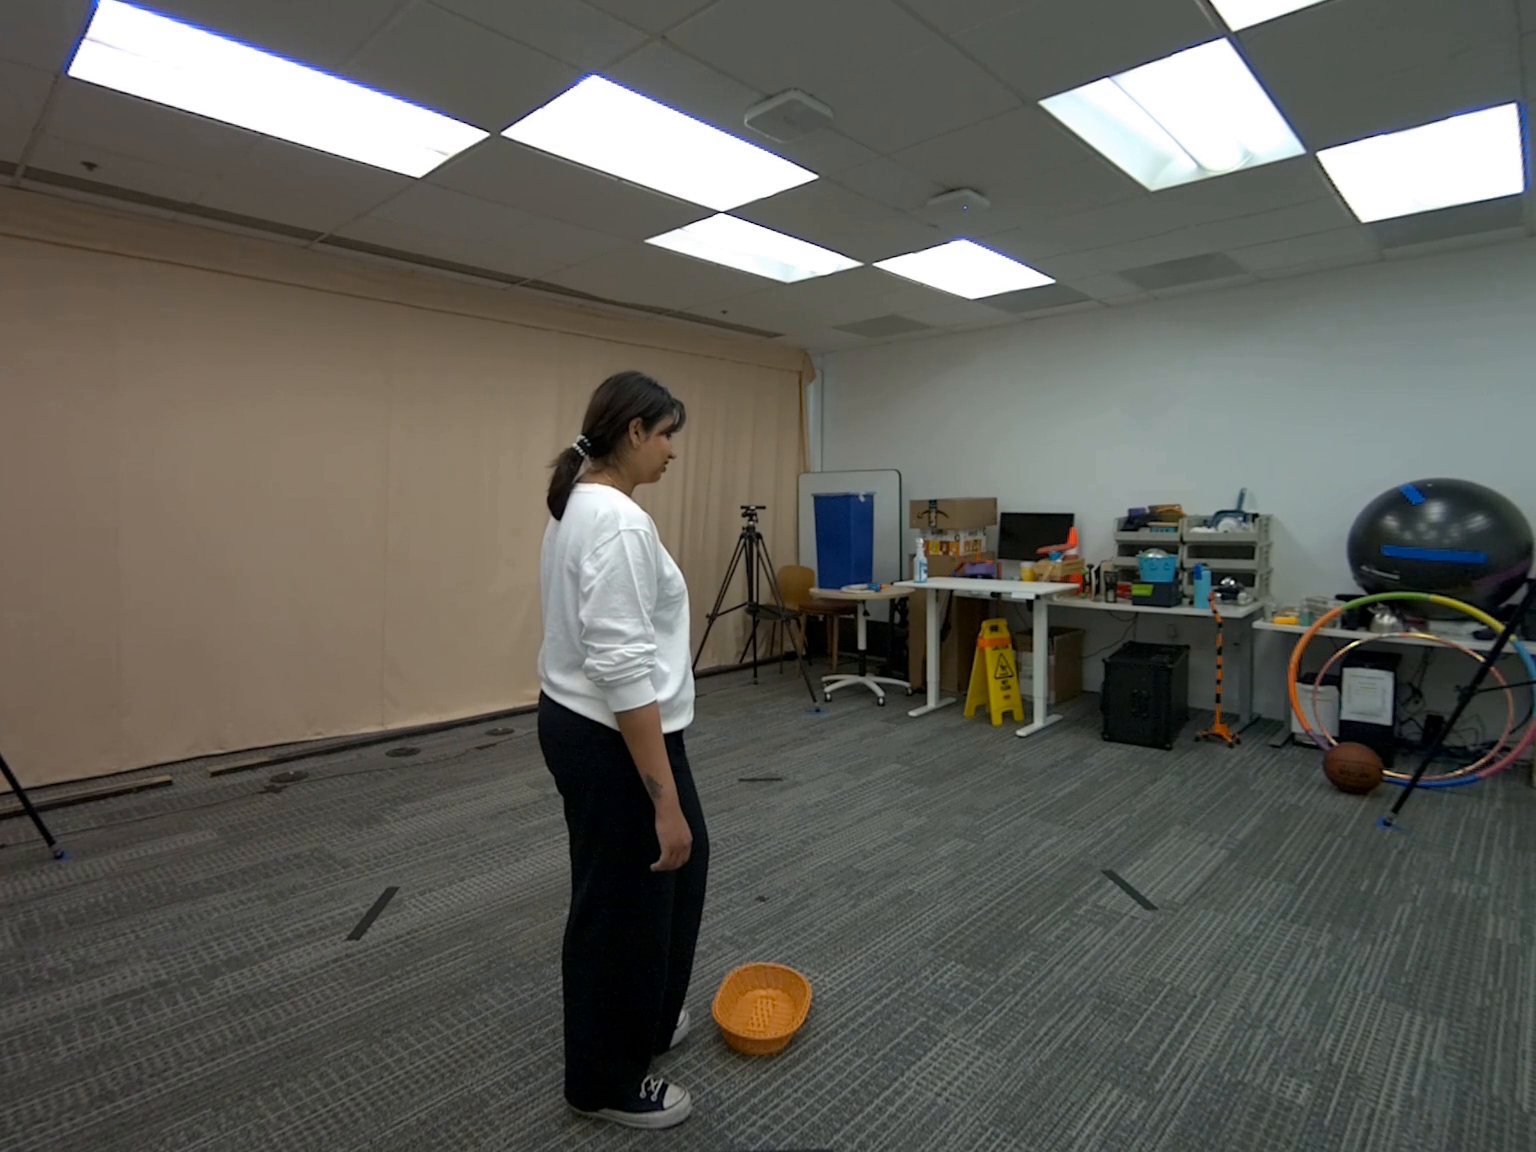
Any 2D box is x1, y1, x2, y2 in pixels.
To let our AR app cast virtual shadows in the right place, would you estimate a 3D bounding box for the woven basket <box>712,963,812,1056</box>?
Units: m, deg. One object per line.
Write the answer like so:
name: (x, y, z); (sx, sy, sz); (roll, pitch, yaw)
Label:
woven basket: (-0.004, 1.166, 2.265); (0.257, 0.073, 0.345); (2, 5, 14)
